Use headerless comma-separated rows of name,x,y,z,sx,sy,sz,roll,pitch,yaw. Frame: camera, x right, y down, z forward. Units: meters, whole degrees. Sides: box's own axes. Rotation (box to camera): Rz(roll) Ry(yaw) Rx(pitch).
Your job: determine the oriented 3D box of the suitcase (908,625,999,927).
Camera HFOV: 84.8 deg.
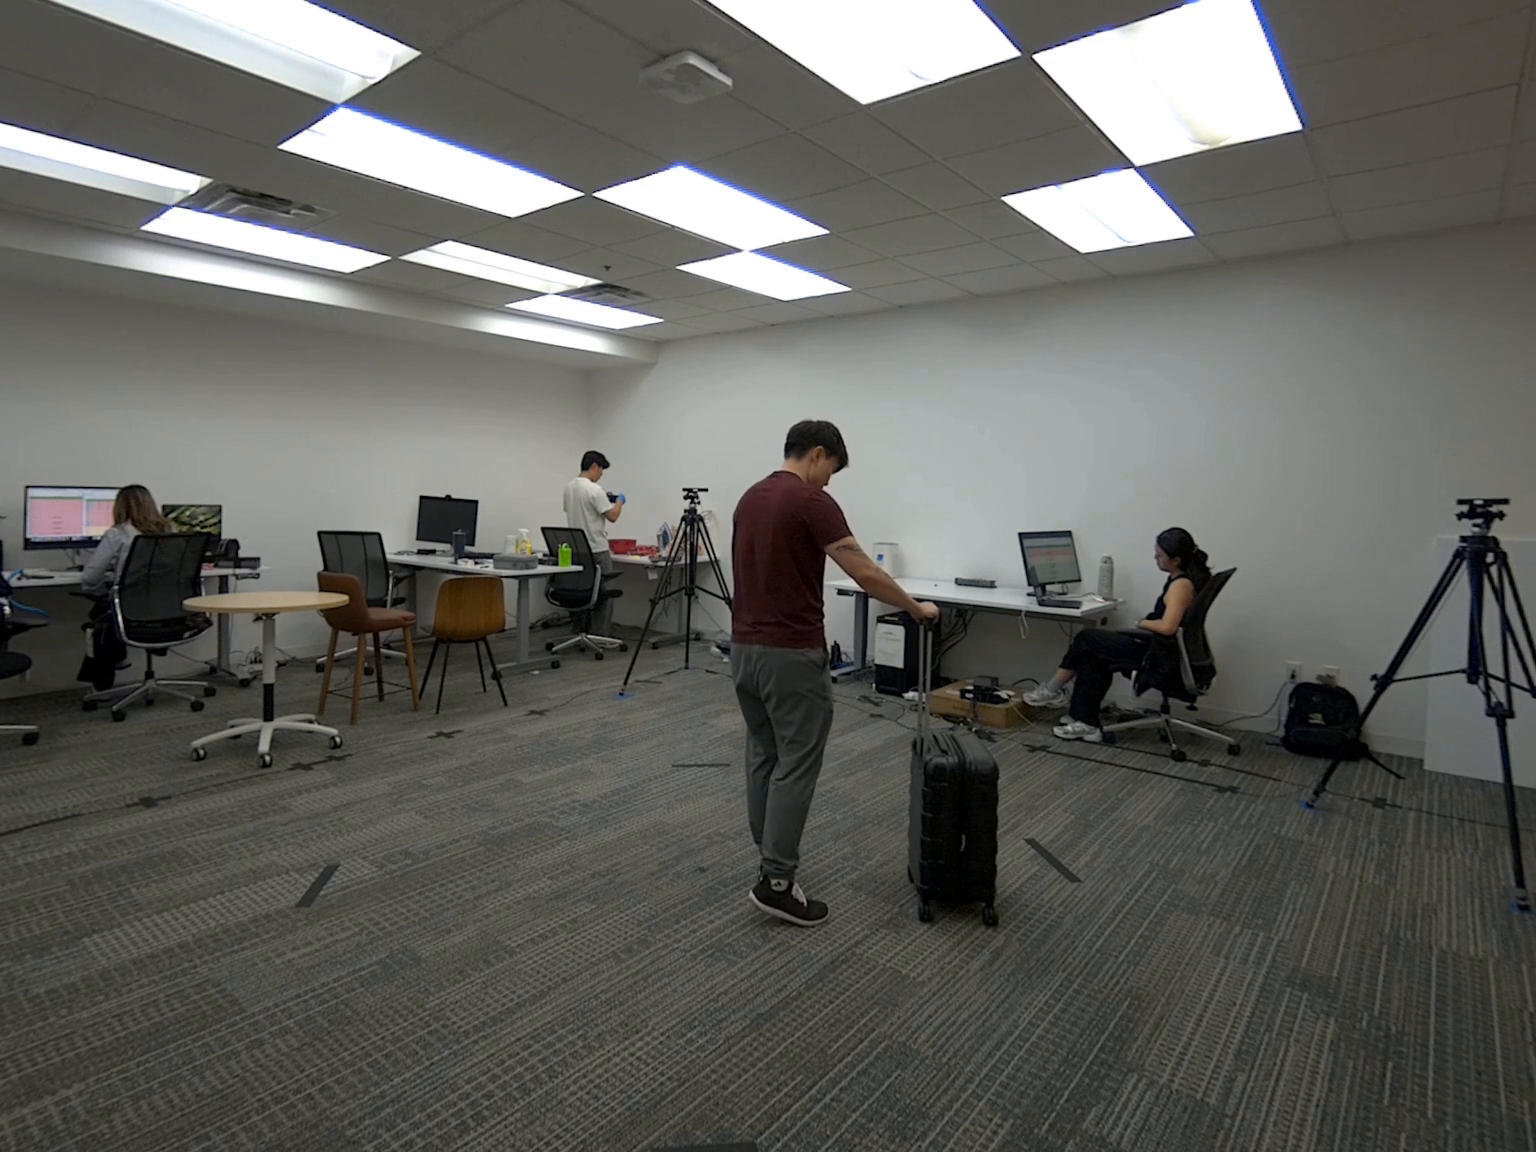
suitcase,0.633,0.630,2.909,0.258,0.976,0.383,2,2,3
